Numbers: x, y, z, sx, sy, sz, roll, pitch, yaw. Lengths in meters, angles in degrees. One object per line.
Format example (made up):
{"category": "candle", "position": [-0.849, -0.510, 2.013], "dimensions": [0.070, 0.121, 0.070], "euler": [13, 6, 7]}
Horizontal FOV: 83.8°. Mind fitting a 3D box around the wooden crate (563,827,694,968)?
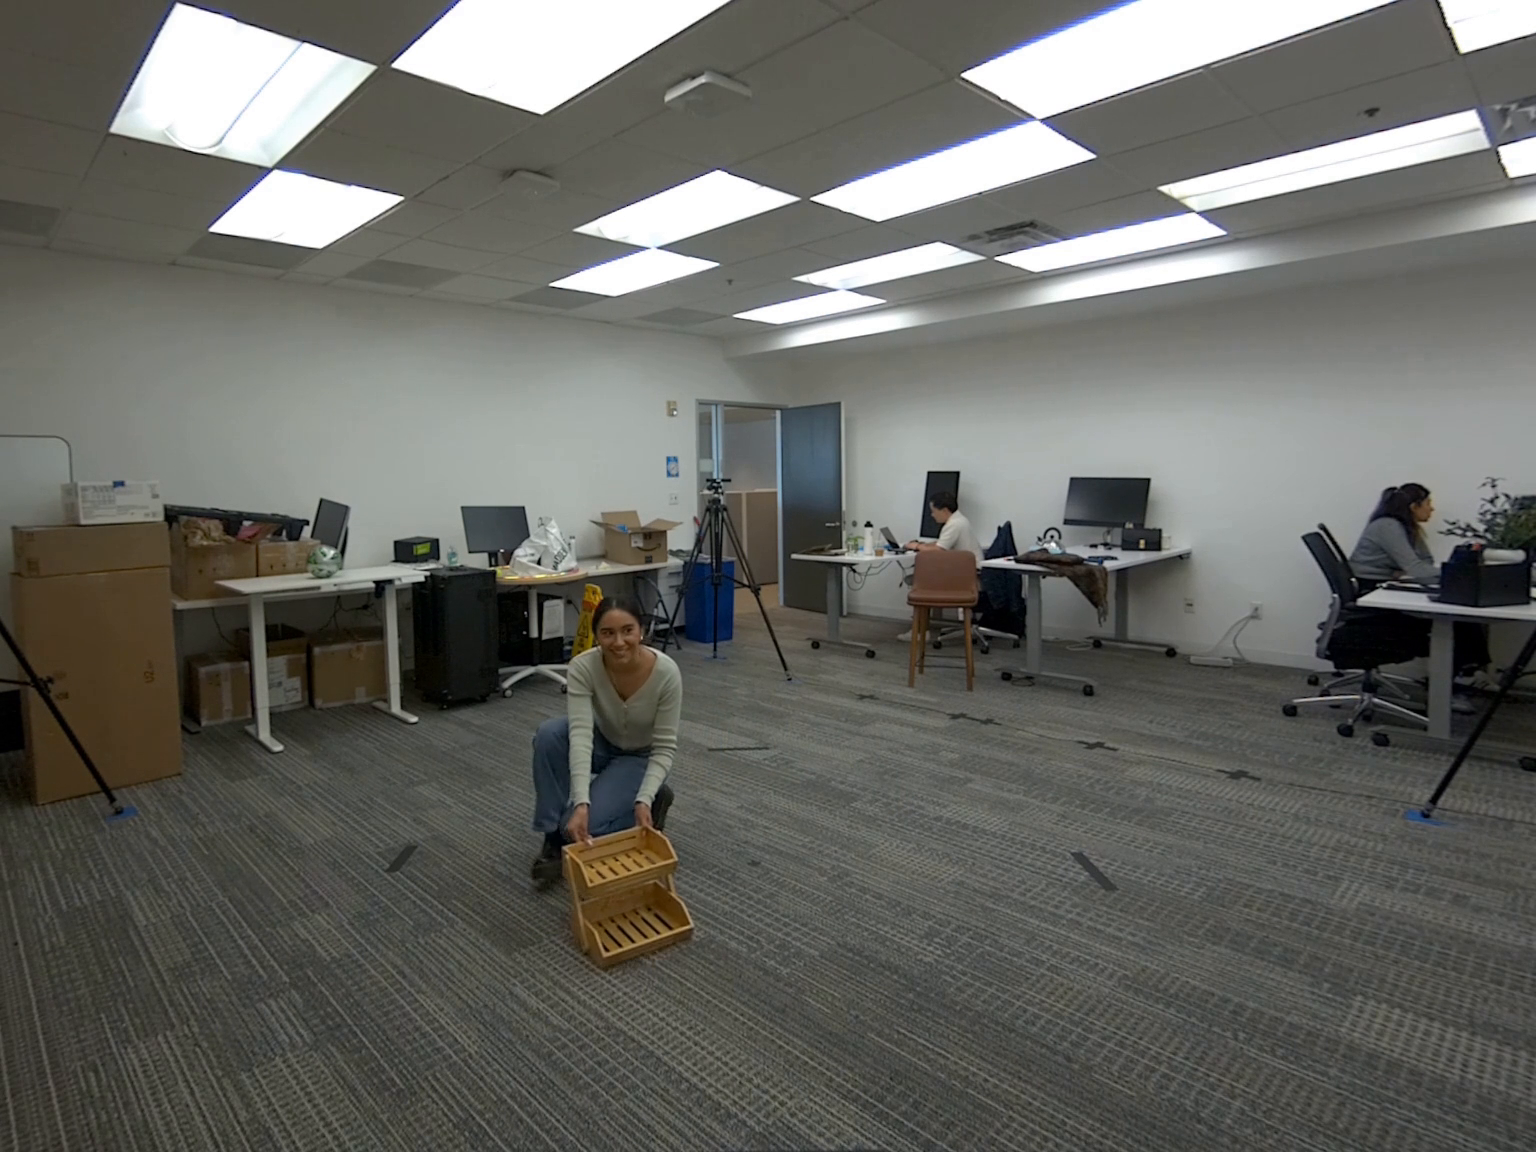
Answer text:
{"category": "wooden crate", "position": [-0.428, 0.977, 2.627], "dimensions": [0.316, 0.272, 0.311], "euler": [-5, 6, -34]}
